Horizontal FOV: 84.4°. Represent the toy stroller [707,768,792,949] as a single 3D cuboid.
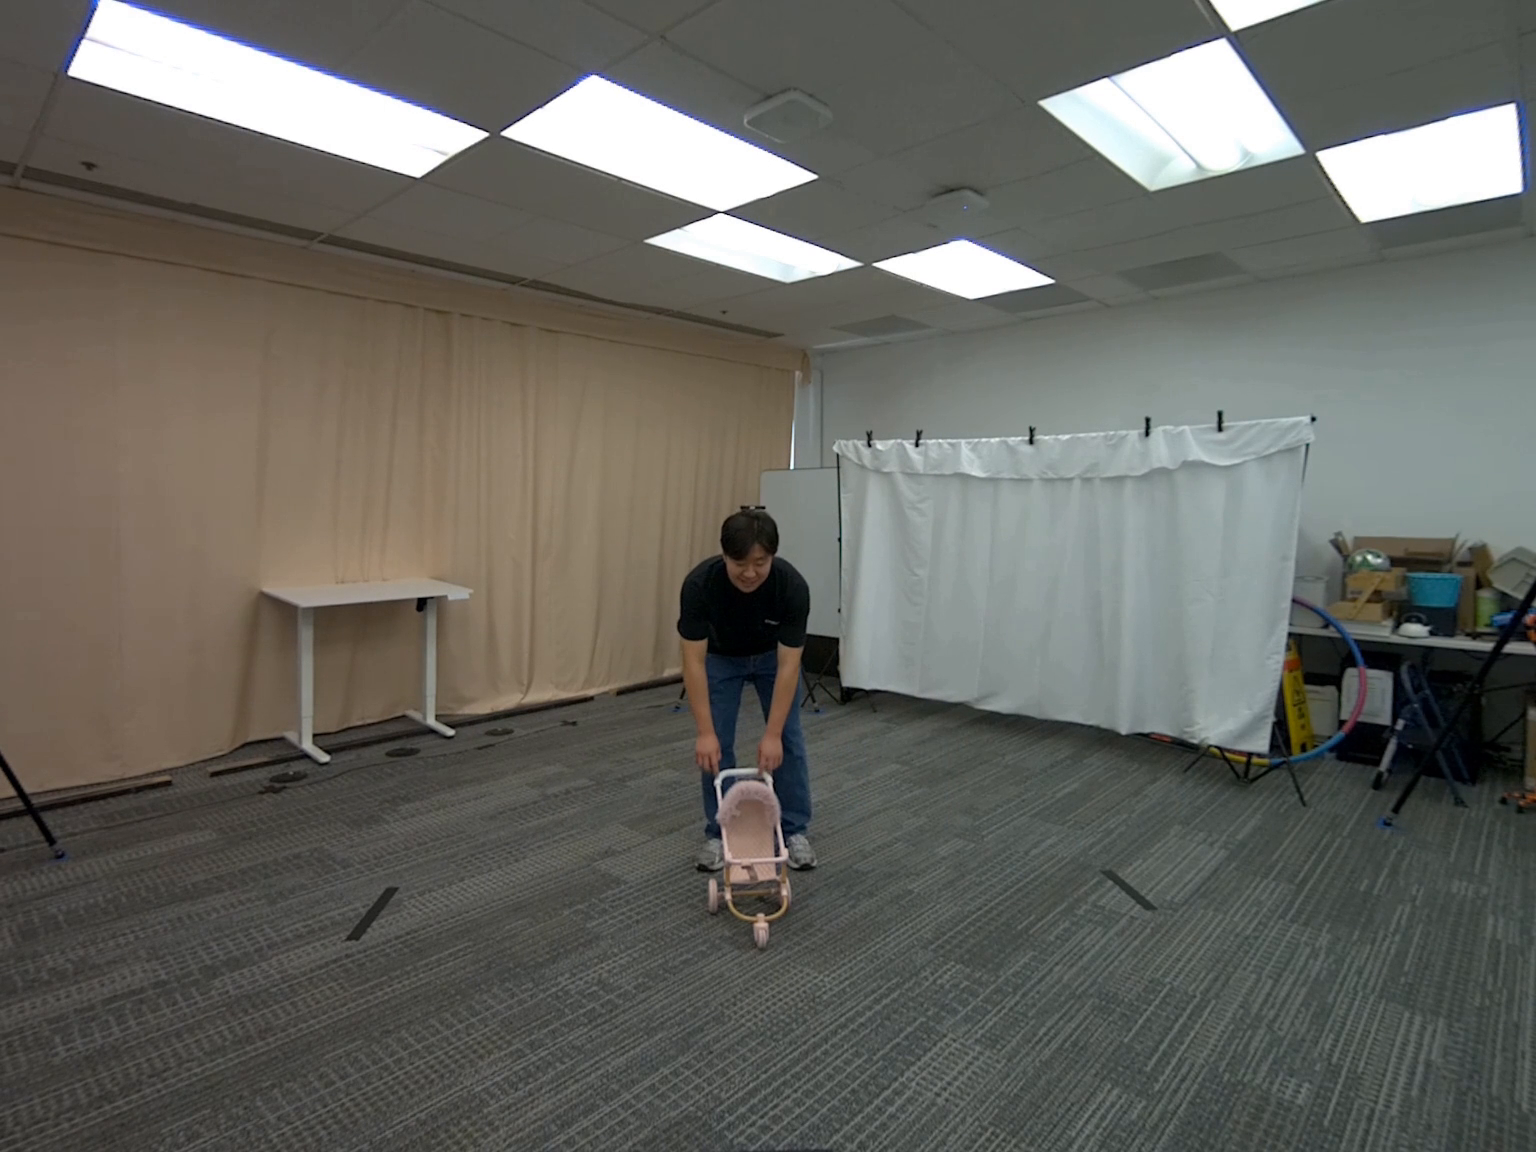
[{"bbox_3d":[-0.050,0.918,2.847,0.280,0.539,0.340,0,-12,-6],"label":"toy stroller"}]
